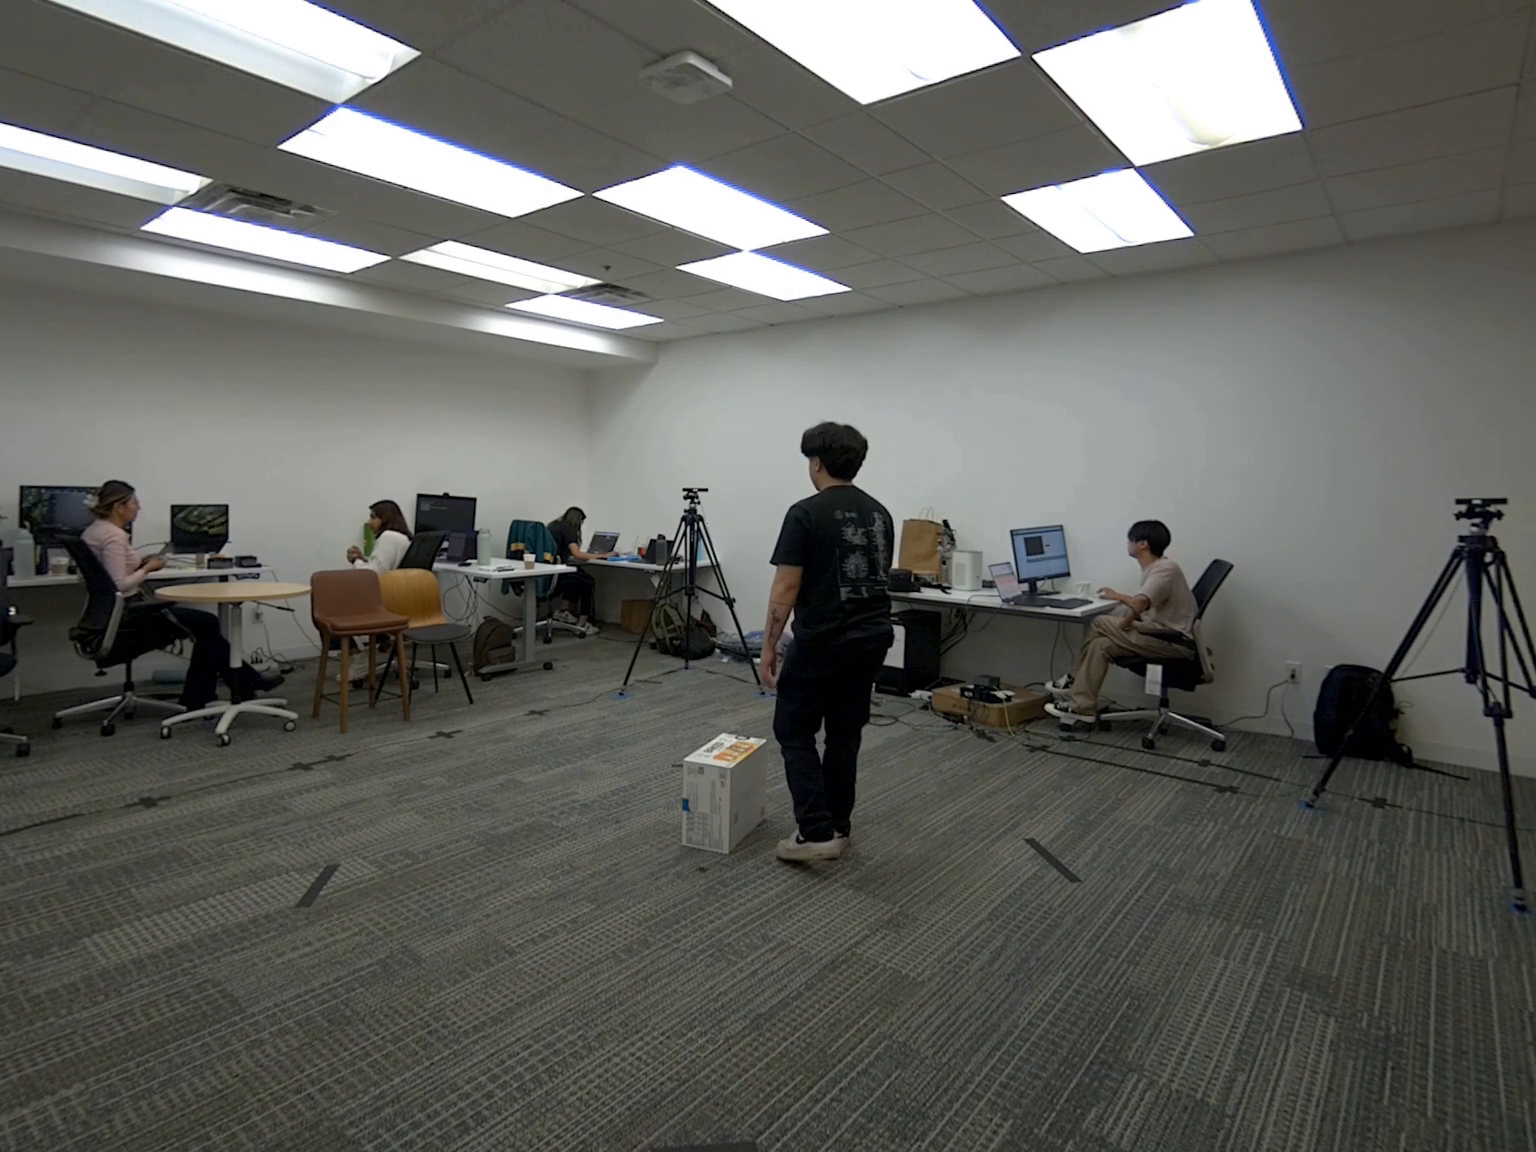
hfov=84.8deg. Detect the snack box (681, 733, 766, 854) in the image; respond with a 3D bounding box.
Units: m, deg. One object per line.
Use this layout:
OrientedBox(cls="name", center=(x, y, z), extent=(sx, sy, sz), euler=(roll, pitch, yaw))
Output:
OrientedBox(cls="snack box", center=(-0.180, 0.866, 3.451), extent=(0.210, 0.339, 0.397), euler=(3, 5, 21))
